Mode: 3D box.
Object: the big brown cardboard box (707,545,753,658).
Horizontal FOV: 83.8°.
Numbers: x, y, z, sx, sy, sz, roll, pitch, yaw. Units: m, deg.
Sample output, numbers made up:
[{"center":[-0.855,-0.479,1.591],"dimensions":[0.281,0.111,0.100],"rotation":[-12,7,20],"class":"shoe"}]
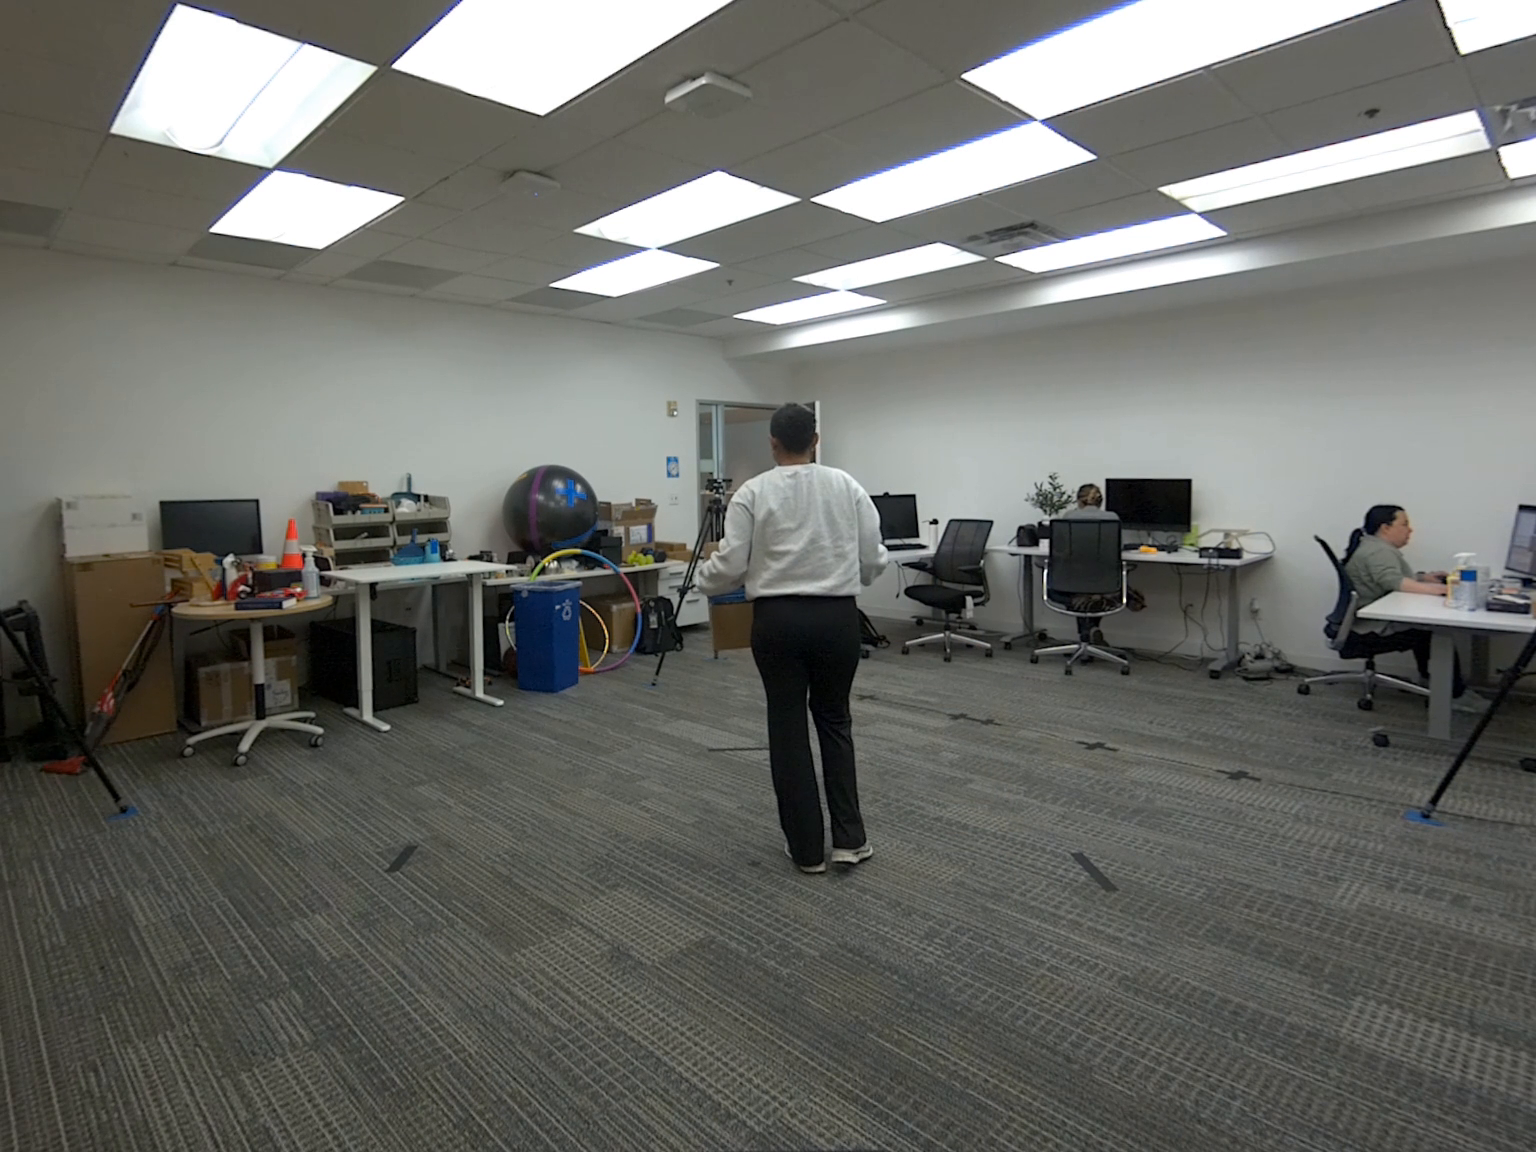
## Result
[{"center":[0.056,0.058,3.392],"dimensions":[0.587,0.419,0.233],"rotation":[-5,-3,-3],"class":"big brown cardboard box"}]
